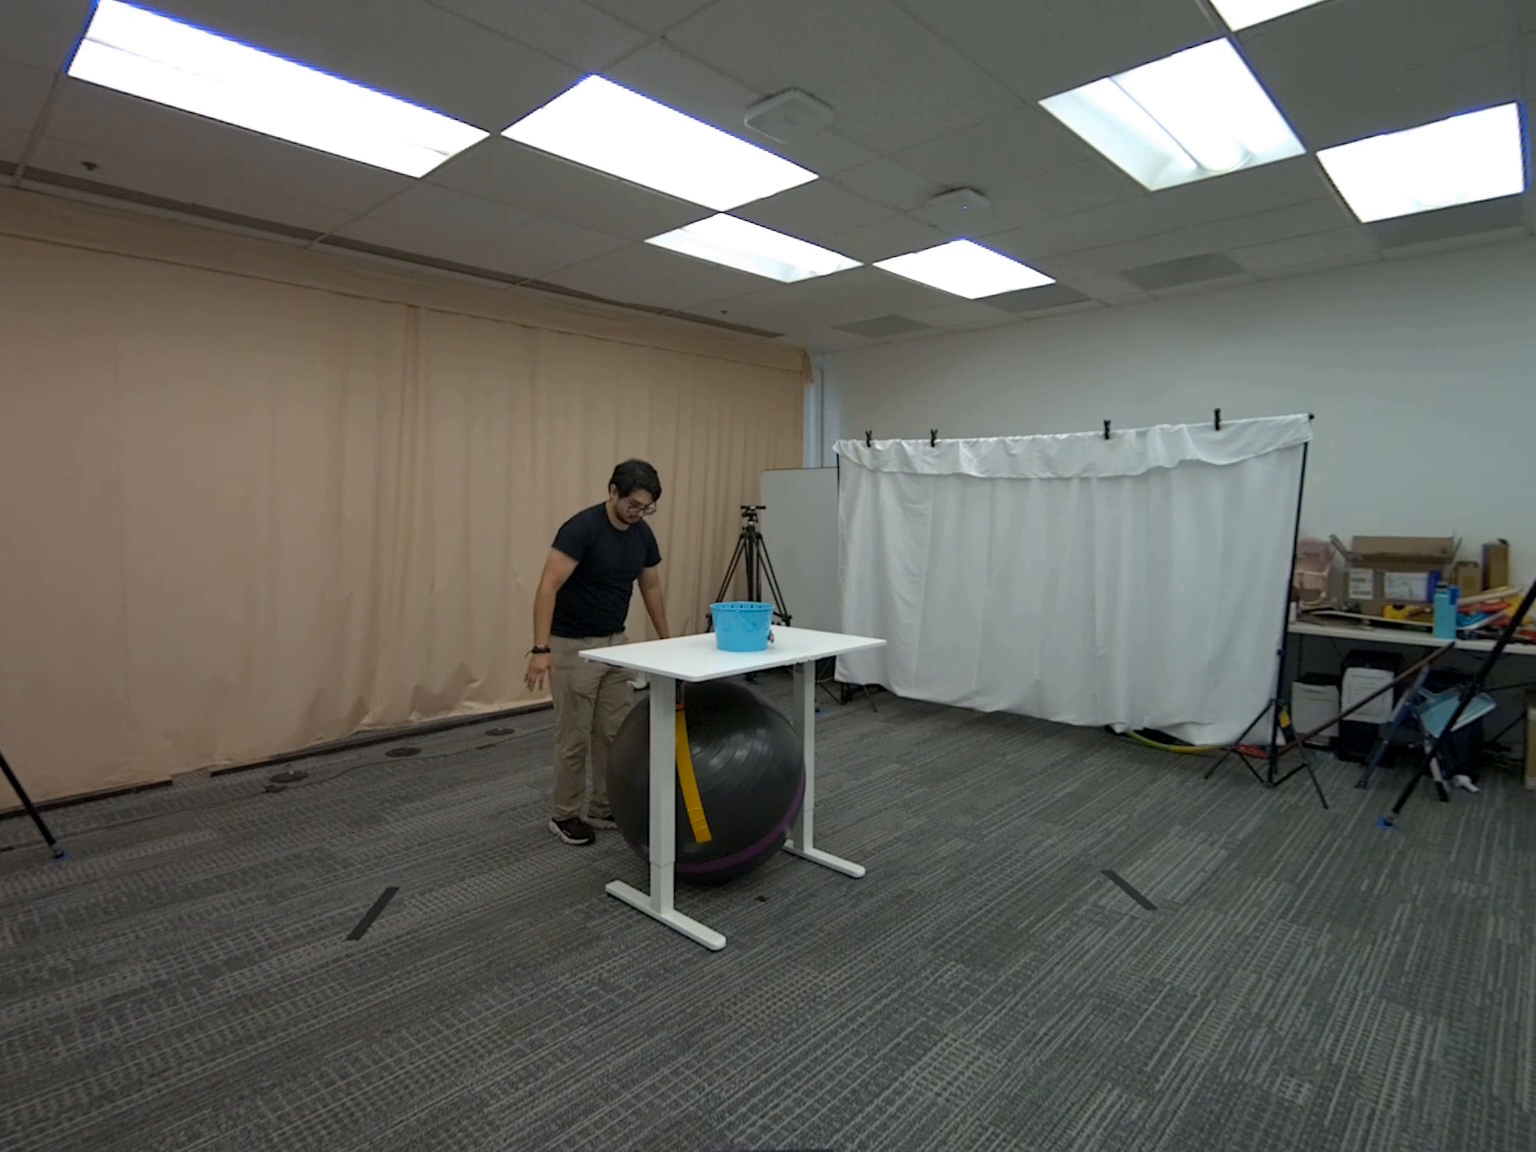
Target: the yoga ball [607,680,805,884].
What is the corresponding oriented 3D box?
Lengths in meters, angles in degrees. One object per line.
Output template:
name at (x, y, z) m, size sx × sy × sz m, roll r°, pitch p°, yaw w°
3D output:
yoga ball at (-0.240, 0.769, 3.216) m, size 0.757 × 0.756 × 0.760 m, roll 0°, pitch 4°, yaw -2°
